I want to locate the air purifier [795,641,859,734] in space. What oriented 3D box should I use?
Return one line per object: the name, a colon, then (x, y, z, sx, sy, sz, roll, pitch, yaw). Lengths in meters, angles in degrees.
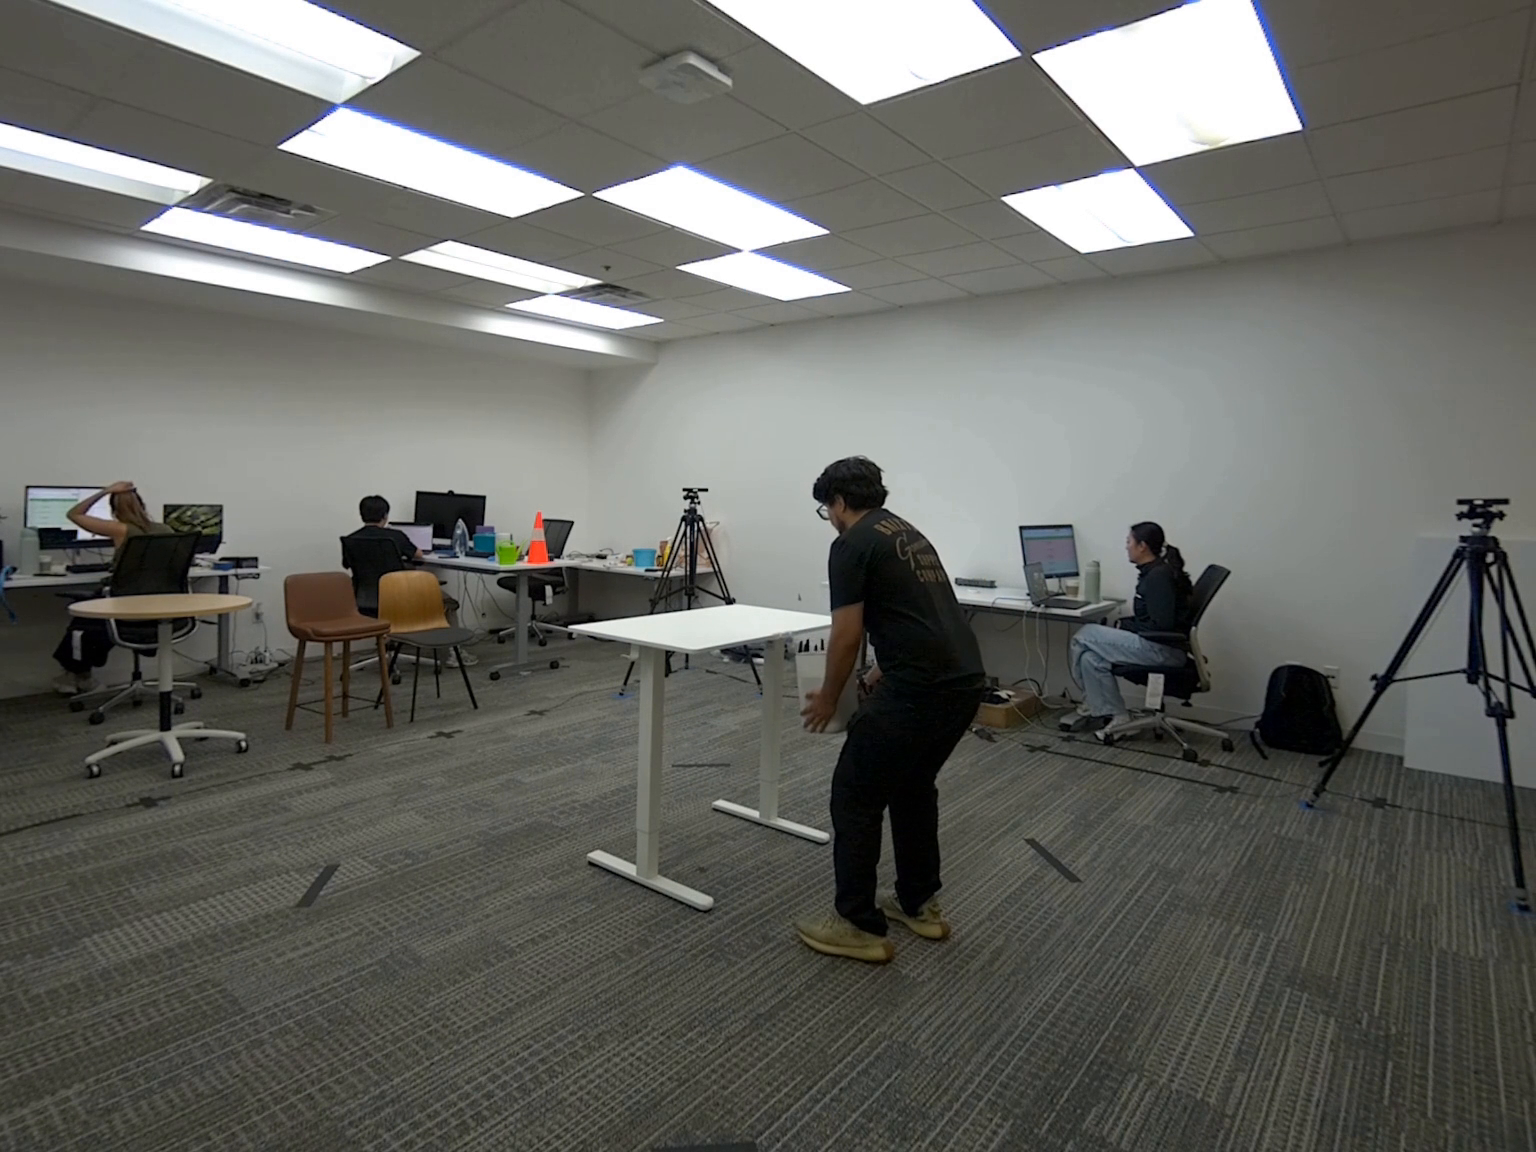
air purifier: (0.204, 0.392, 2.878, 0.176, 0.267, 0.166, -6, -5, 32)
